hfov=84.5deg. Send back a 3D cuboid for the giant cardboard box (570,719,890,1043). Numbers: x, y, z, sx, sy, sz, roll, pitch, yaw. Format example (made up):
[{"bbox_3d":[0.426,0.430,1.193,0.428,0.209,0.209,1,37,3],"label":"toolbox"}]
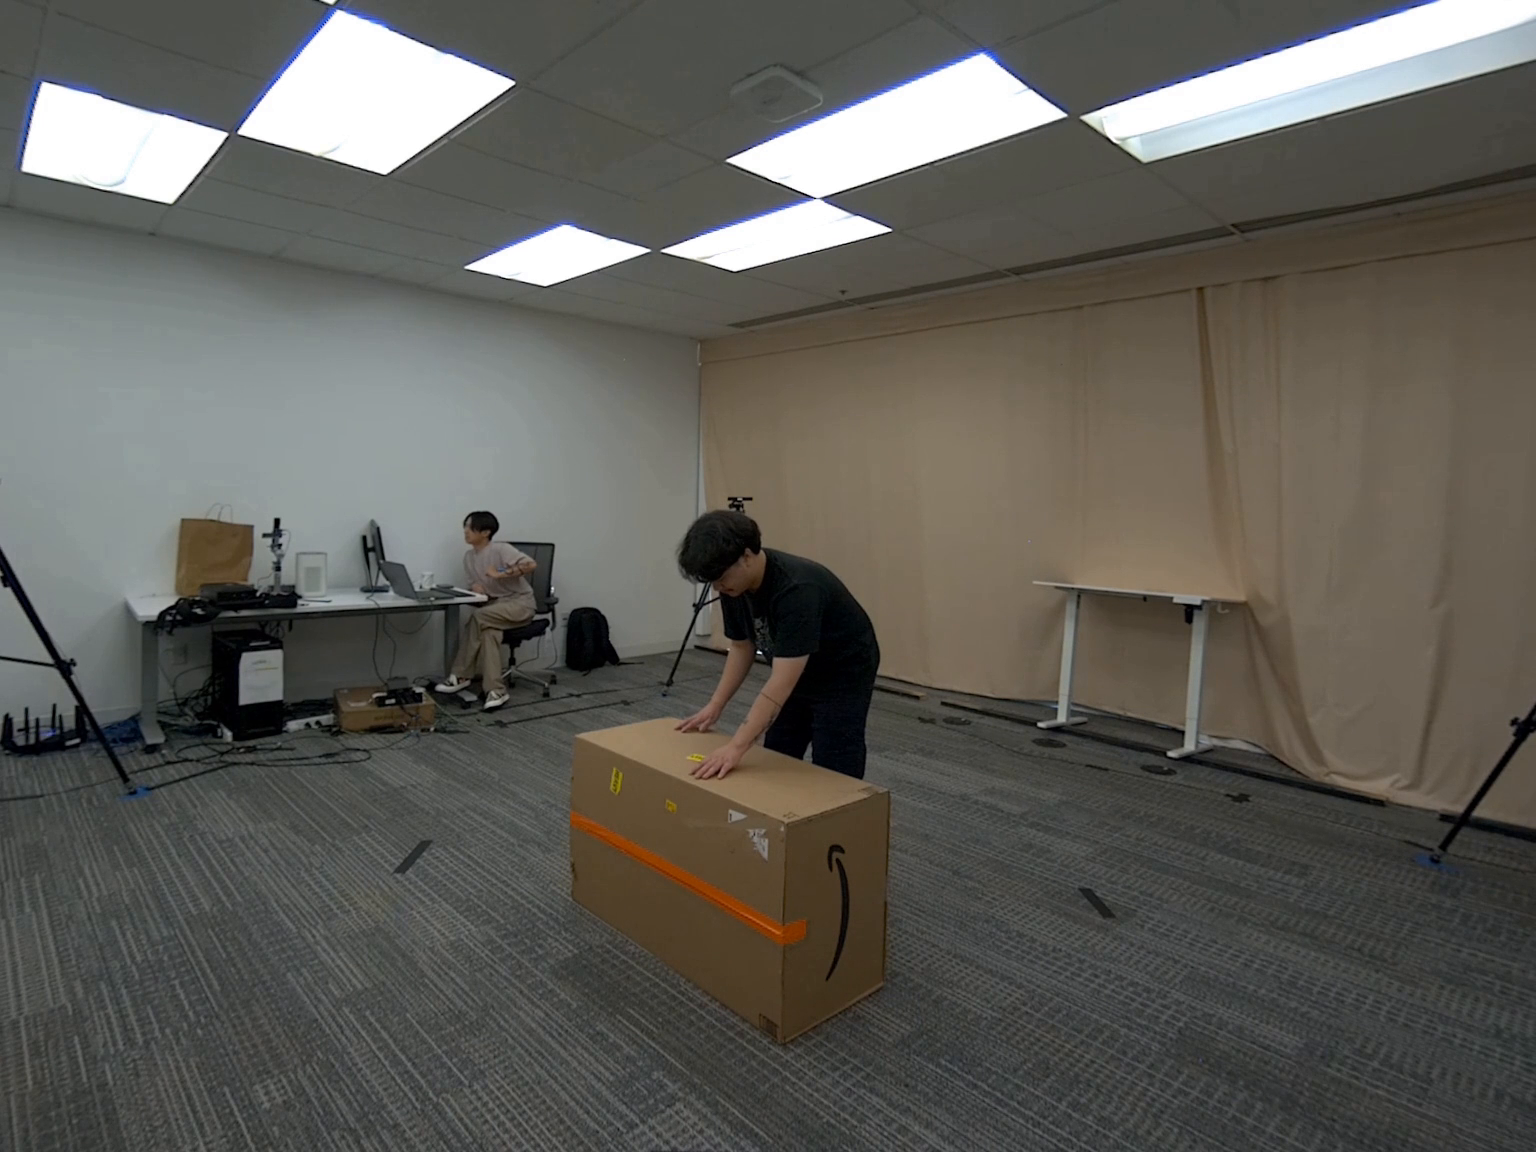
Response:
[{"bbox_3d":[-0.174,0.865,2.641,0.437,0.582,1.053,-3,6,-43],"label":"giant cardboard box"}]
